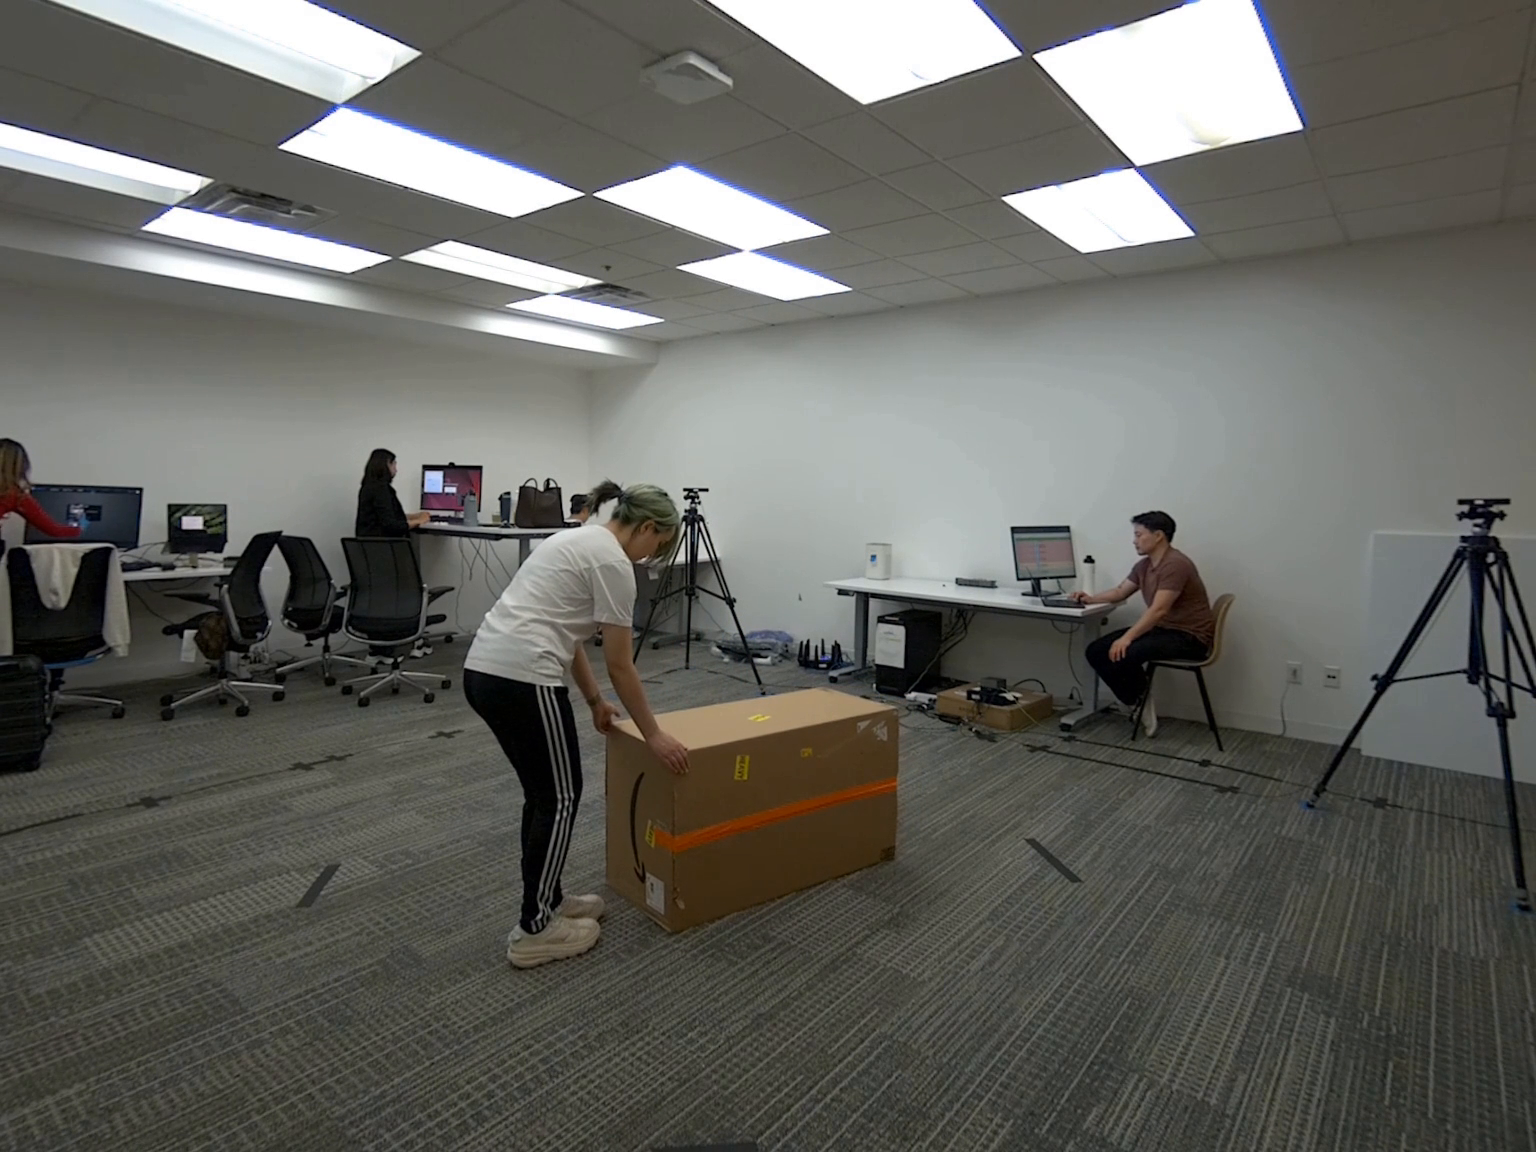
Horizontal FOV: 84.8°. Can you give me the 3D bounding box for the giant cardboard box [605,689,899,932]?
[{"bbox_3d":[-0.042,0.788,3.092,0.997,0.581,0.462,-3,7,-38],"label":"giant cardboard box"}]
